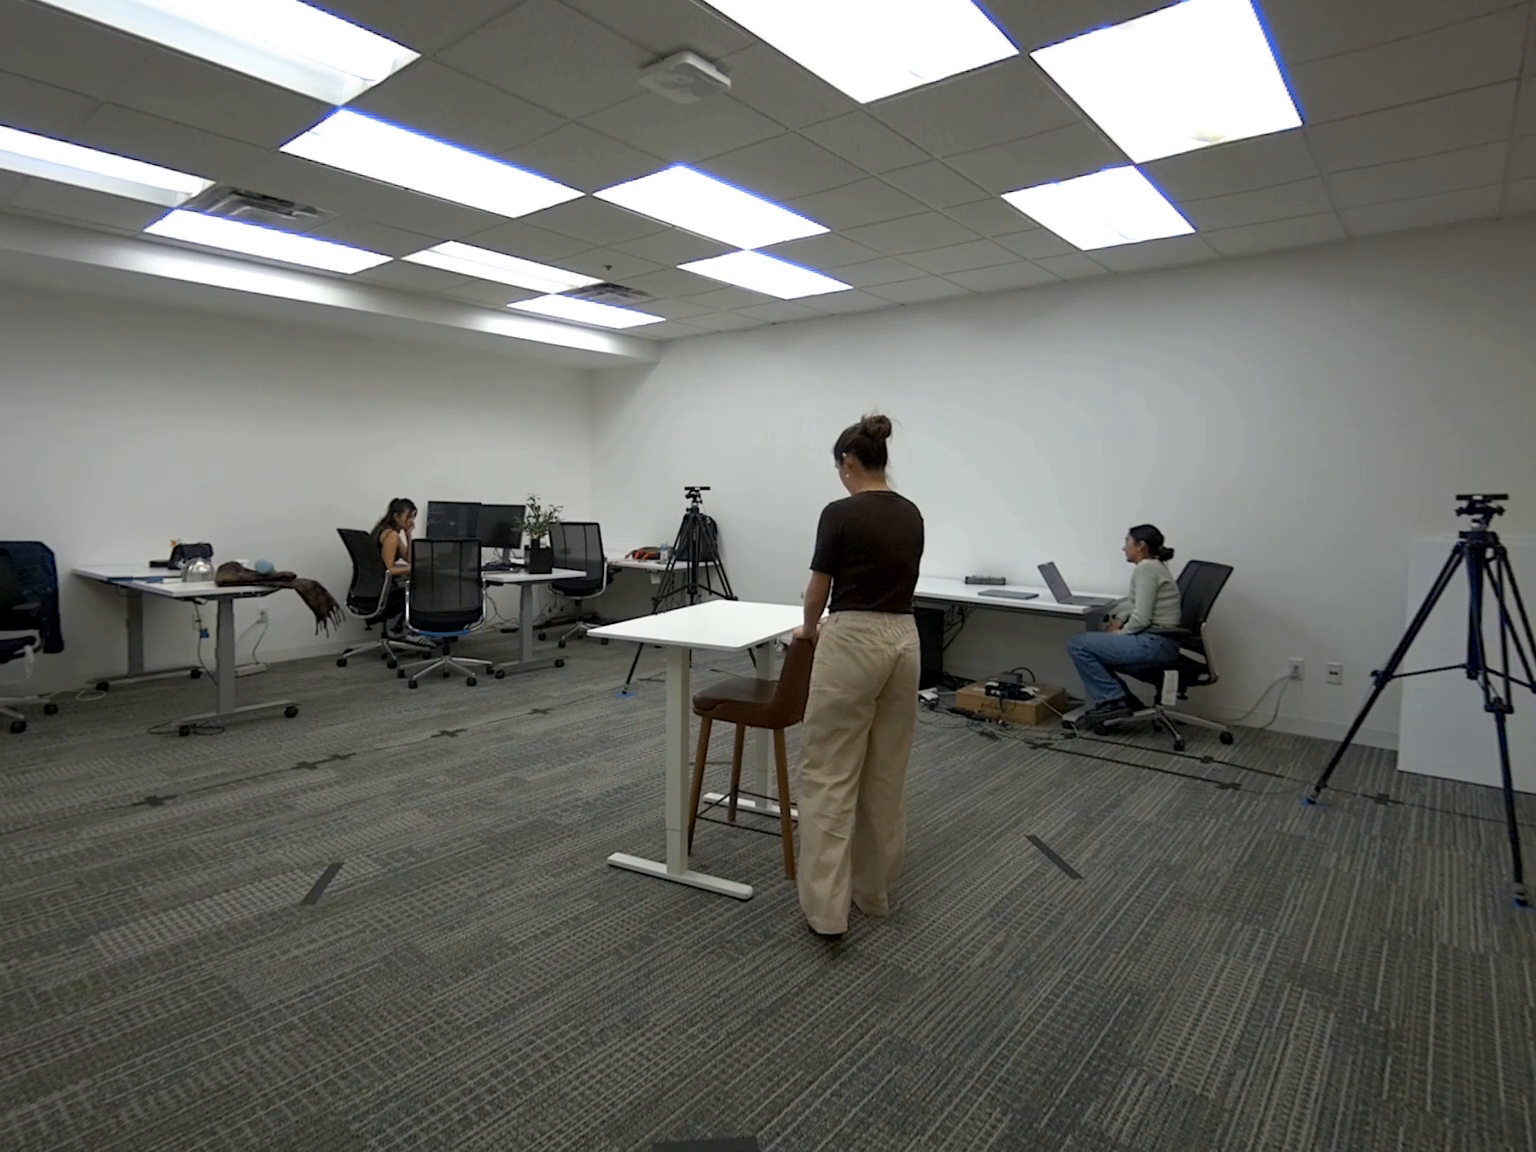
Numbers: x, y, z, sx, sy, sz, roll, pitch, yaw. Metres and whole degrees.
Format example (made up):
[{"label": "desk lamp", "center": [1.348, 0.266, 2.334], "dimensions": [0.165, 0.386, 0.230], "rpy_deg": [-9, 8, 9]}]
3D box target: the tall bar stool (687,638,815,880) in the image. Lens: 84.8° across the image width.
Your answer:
[{"label": "tall bar stool", "center": [-0.031, 0.618, 3.267], "dimensions": [0.481, 0.887, 0.445], "rpy_deg": [4, 4, 27]}]
